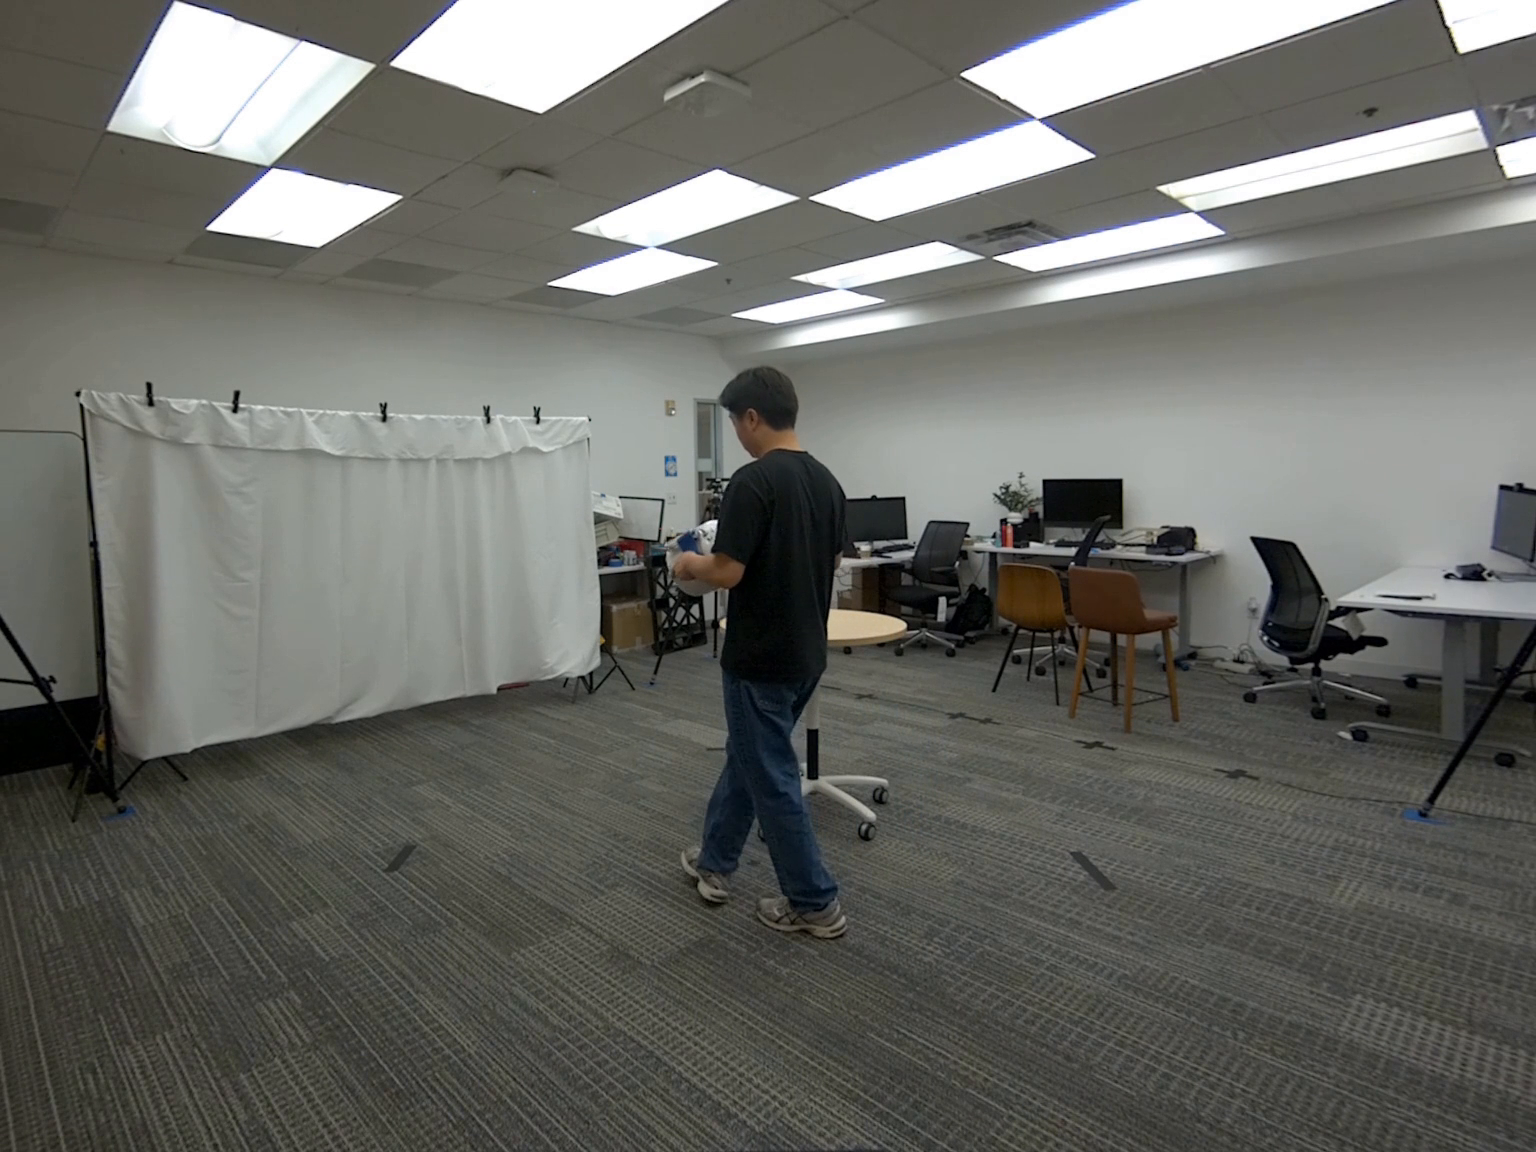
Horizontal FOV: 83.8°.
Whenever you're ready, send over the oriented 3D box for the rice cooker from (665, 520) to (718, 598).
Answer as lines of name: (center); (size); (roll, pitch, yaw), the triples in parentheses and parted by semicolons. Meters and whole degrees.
rice cooker: (-0.210, -0.056, 2.820); (0.236, 0.217, 0.217); (-22, 2, 34)
